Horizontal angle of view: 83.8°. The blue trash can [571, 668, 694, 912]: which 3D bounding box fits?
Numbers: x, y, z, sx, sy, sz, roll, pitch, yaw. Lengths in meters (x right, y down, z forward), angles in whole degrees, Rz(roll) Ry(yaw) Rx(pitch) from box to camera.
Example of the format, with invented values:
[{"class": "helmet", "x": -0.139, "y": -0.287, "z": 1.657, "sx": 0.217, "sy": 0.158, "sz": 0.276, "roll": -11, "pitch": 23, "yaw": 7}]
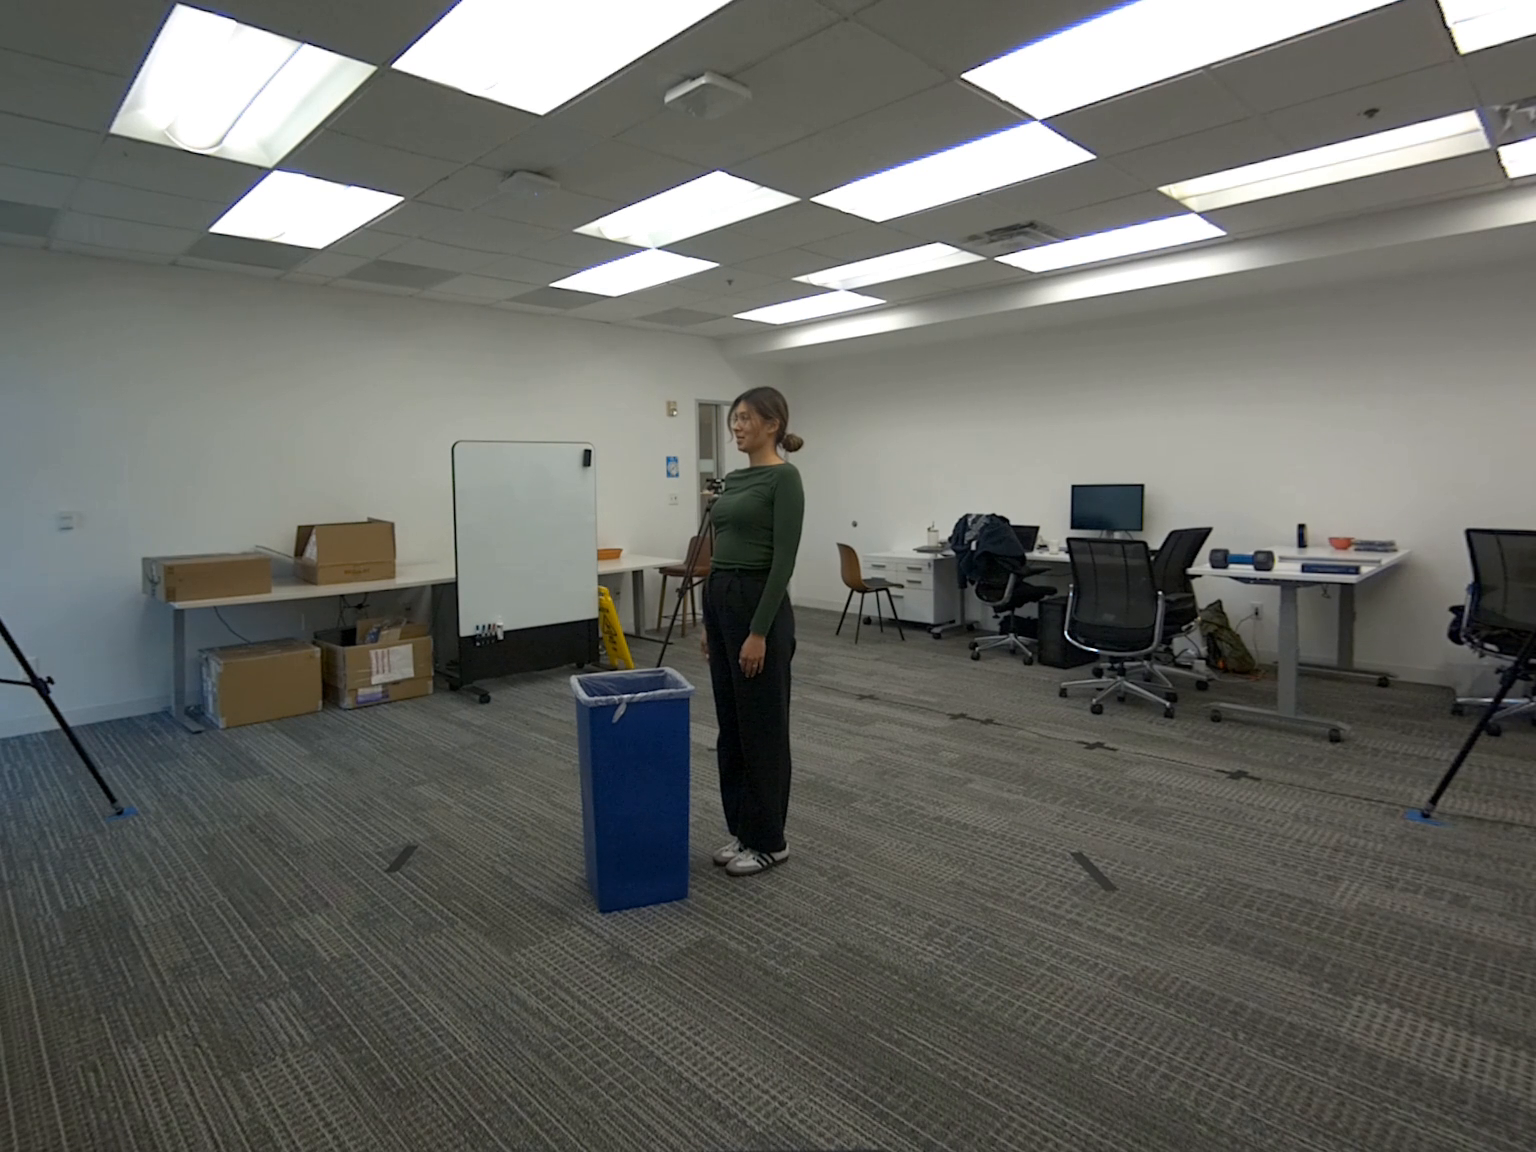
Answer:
[{"class": "blue trash can", "x": -0.464, "y": 0.714, "z": 2.919, "sx": 0.367, "sy": 0.712, "sz": 0.386, "roll": -2, "pitch": 3, "yaw": -20}]
